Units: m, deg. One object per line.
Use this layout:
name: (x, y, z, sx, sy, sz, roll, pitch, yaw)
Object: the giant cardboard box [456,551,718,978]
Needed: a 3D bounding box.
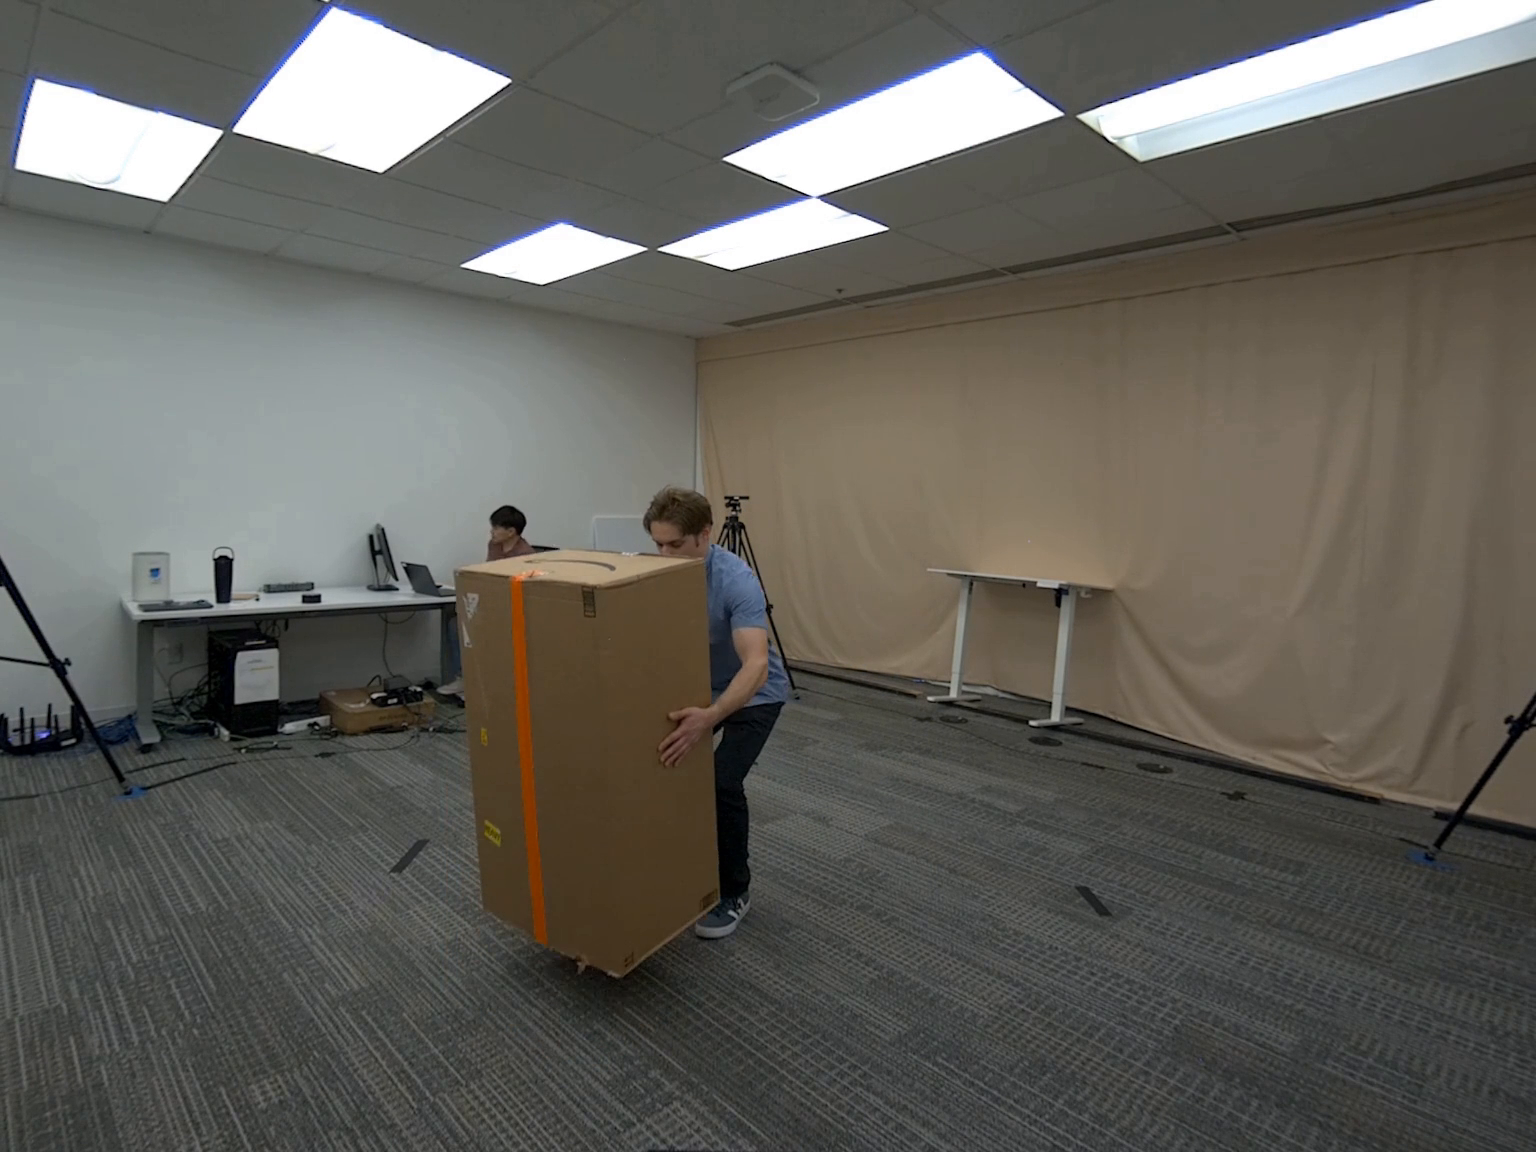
giant cardboard box: (-0.515, 0.470, 2.390, 0.591, 1.020, 0.418, 4, 10, 37)
